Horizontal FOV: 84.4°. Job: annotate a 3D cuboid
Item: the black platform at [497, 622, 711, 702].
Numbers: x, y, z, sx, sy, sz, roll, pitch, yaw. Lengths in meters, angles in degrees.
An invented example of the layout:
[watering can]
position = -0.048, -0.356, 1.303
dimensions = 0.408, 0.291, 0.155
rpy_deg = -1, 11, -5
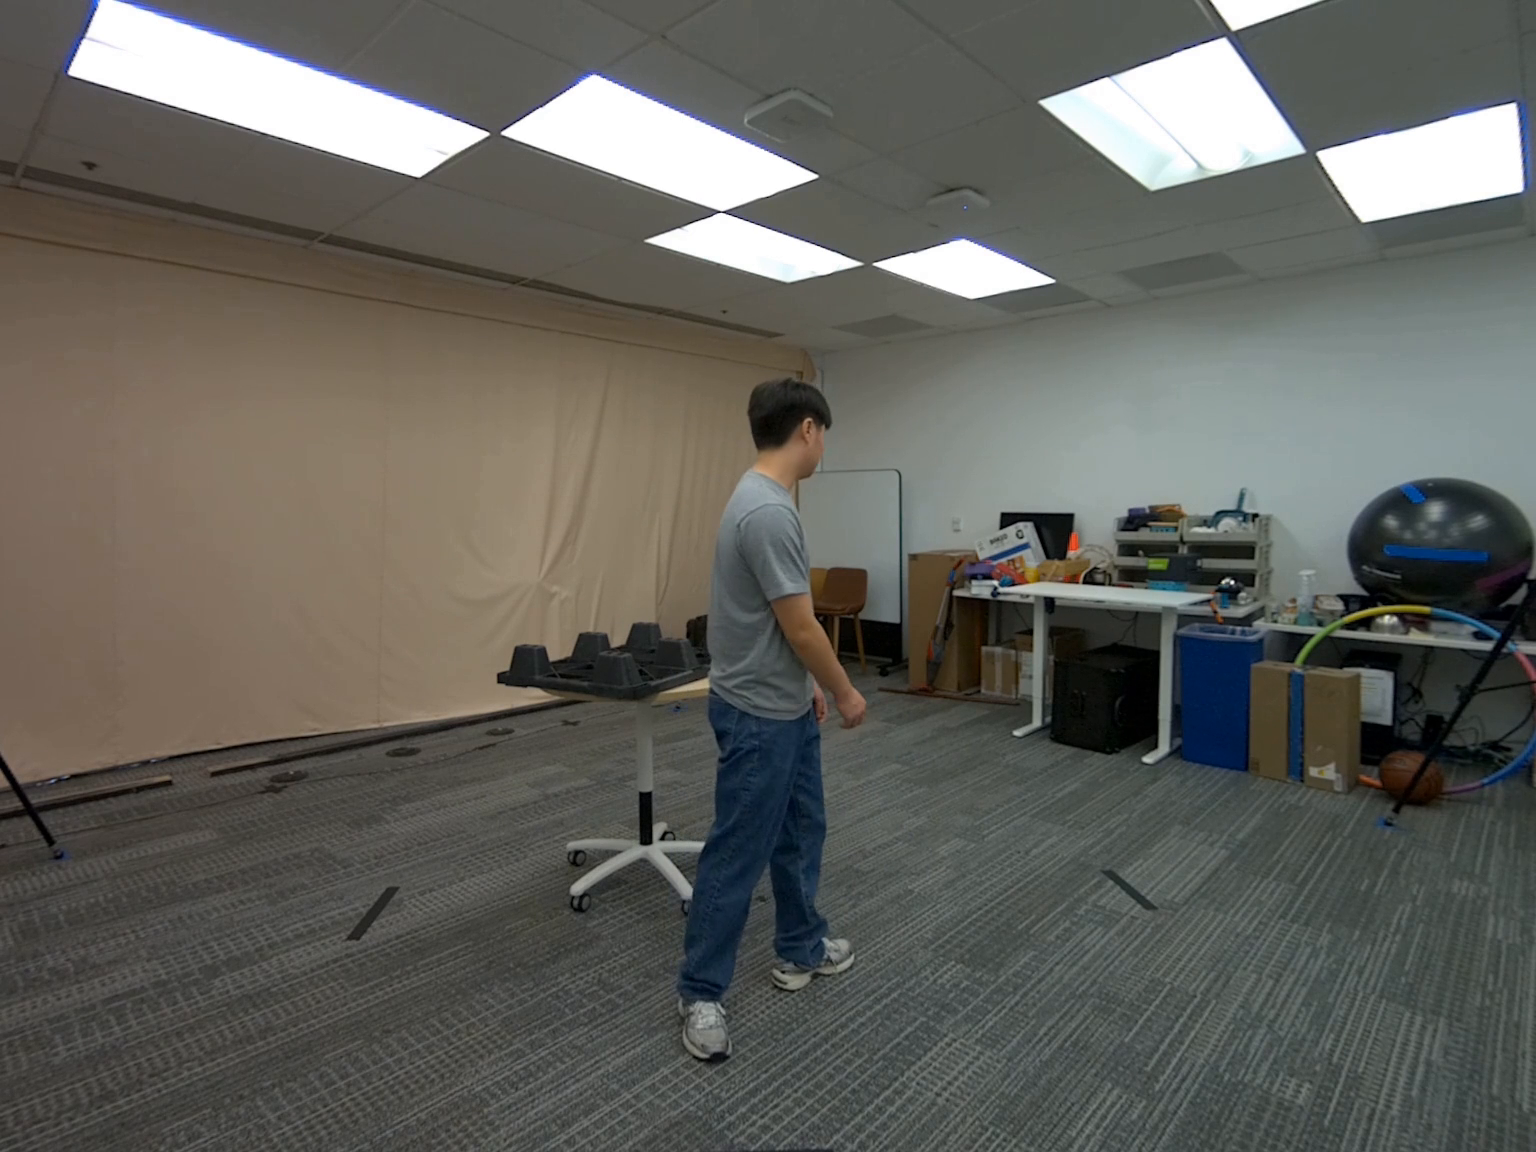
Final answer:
[black platform]
position = -0.498, 0.293, 3.092
dimensions = 0.622, 0.143, 0.785
rpy_deg = 1, 4, 29
